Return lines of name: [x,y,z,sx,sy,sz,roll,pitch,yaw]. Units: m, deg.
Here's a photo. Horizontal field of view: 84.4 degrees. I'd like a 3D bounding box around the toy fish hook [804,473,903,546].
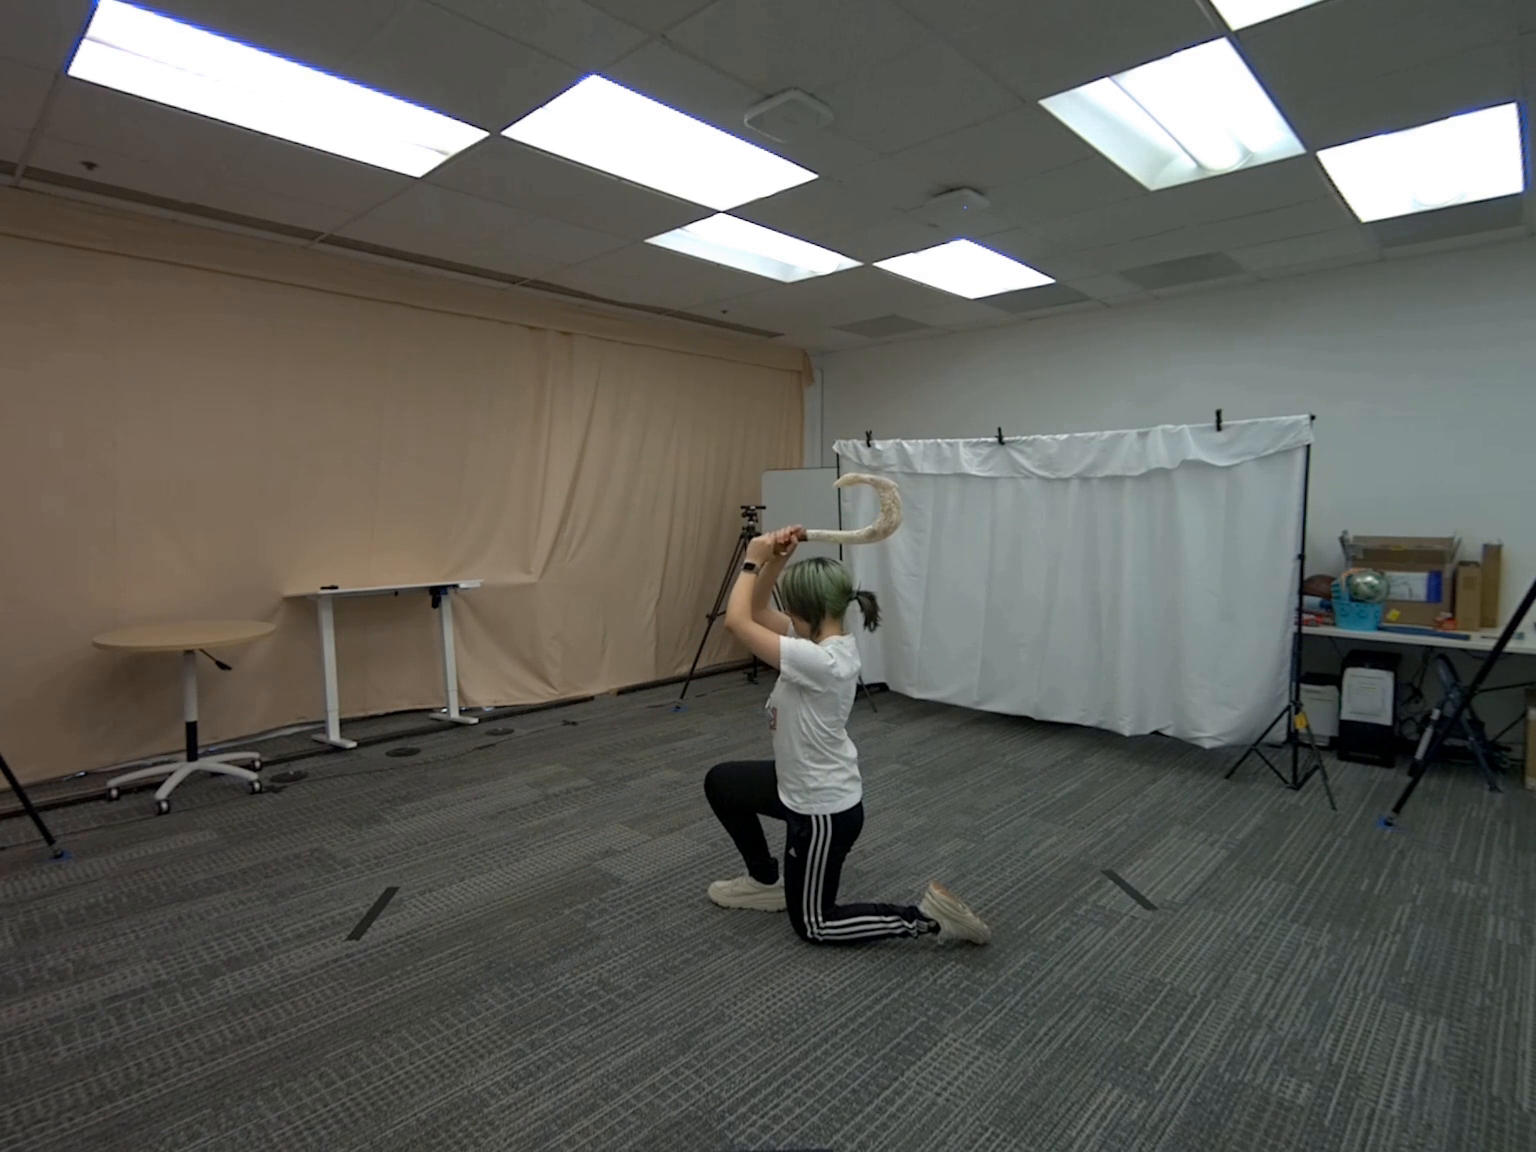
toy fish hook: [0.168,-0.190,2.651,0.514,0.226,0.047,-10,-8,15]
